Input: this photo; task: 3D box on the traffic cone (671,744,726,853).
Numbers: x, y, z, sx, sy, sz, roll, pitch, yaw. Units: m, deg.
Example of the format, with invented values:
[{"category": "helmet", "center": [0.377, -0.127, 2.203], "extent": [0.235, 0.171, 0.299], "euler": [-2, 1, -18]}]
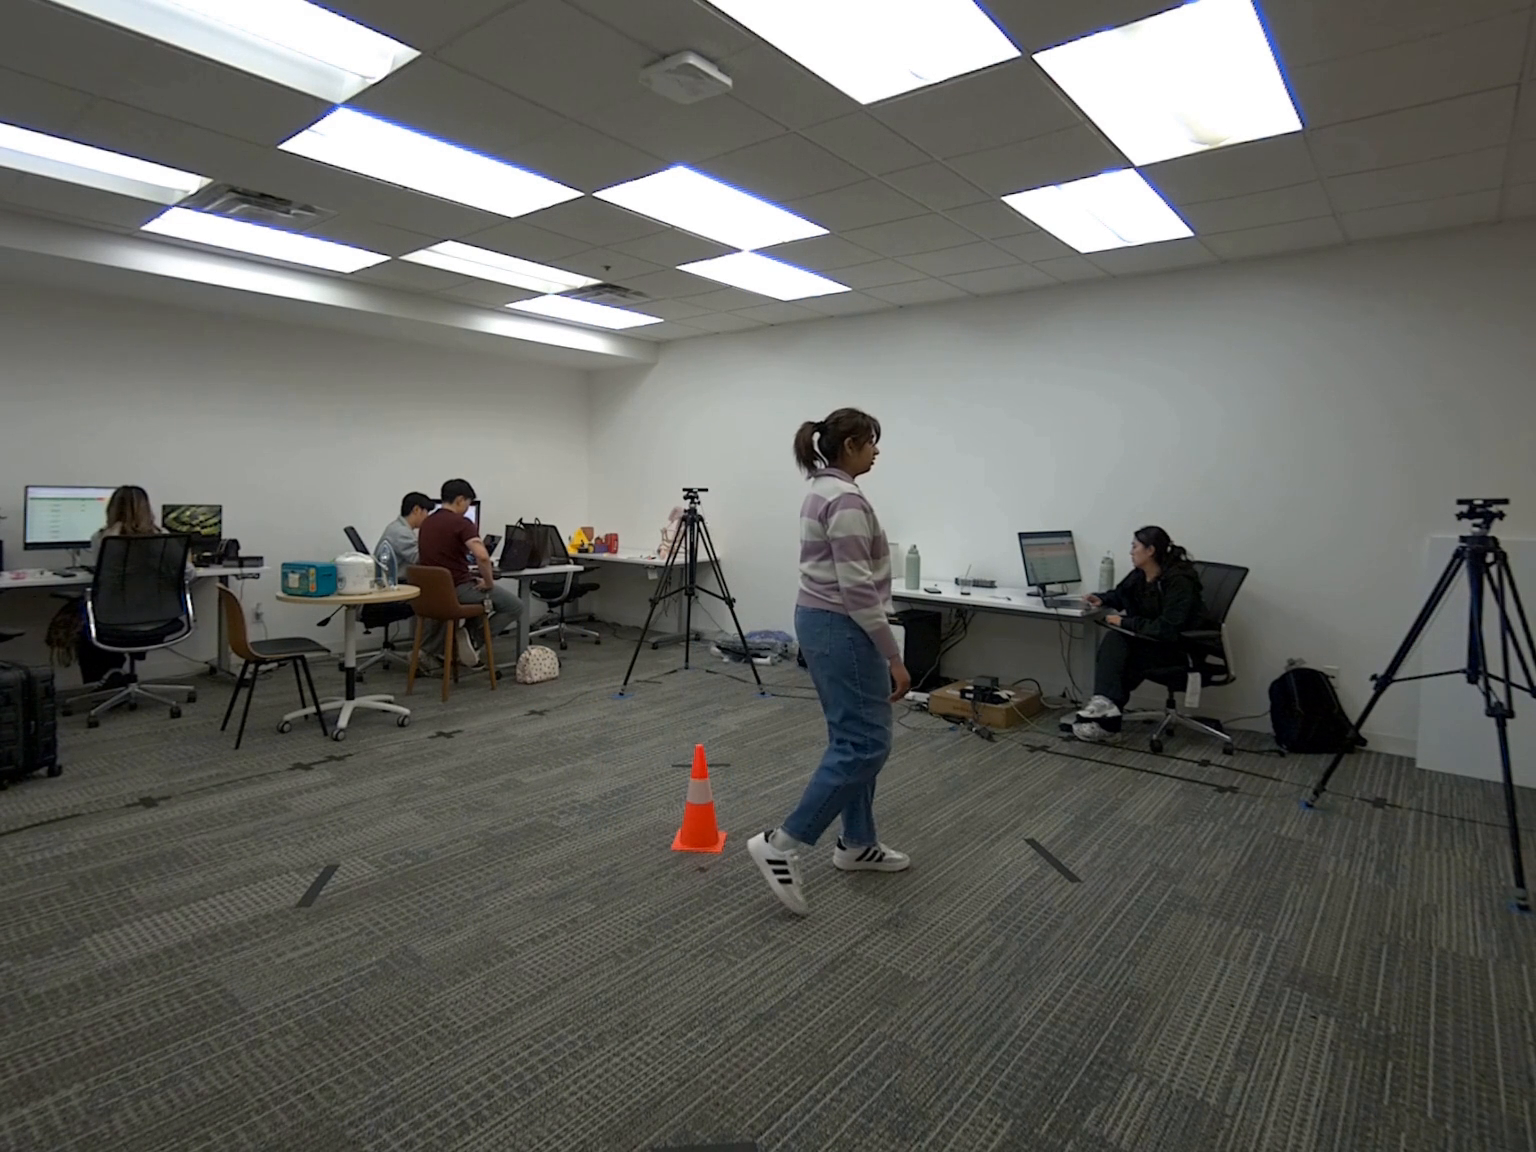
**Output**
[{"category": "traffic cone", "center": [-0.283, 0.859, 3.357], "extent": [0.207, 0.383, 0.202], "euler": [0, 2, 7]}]
